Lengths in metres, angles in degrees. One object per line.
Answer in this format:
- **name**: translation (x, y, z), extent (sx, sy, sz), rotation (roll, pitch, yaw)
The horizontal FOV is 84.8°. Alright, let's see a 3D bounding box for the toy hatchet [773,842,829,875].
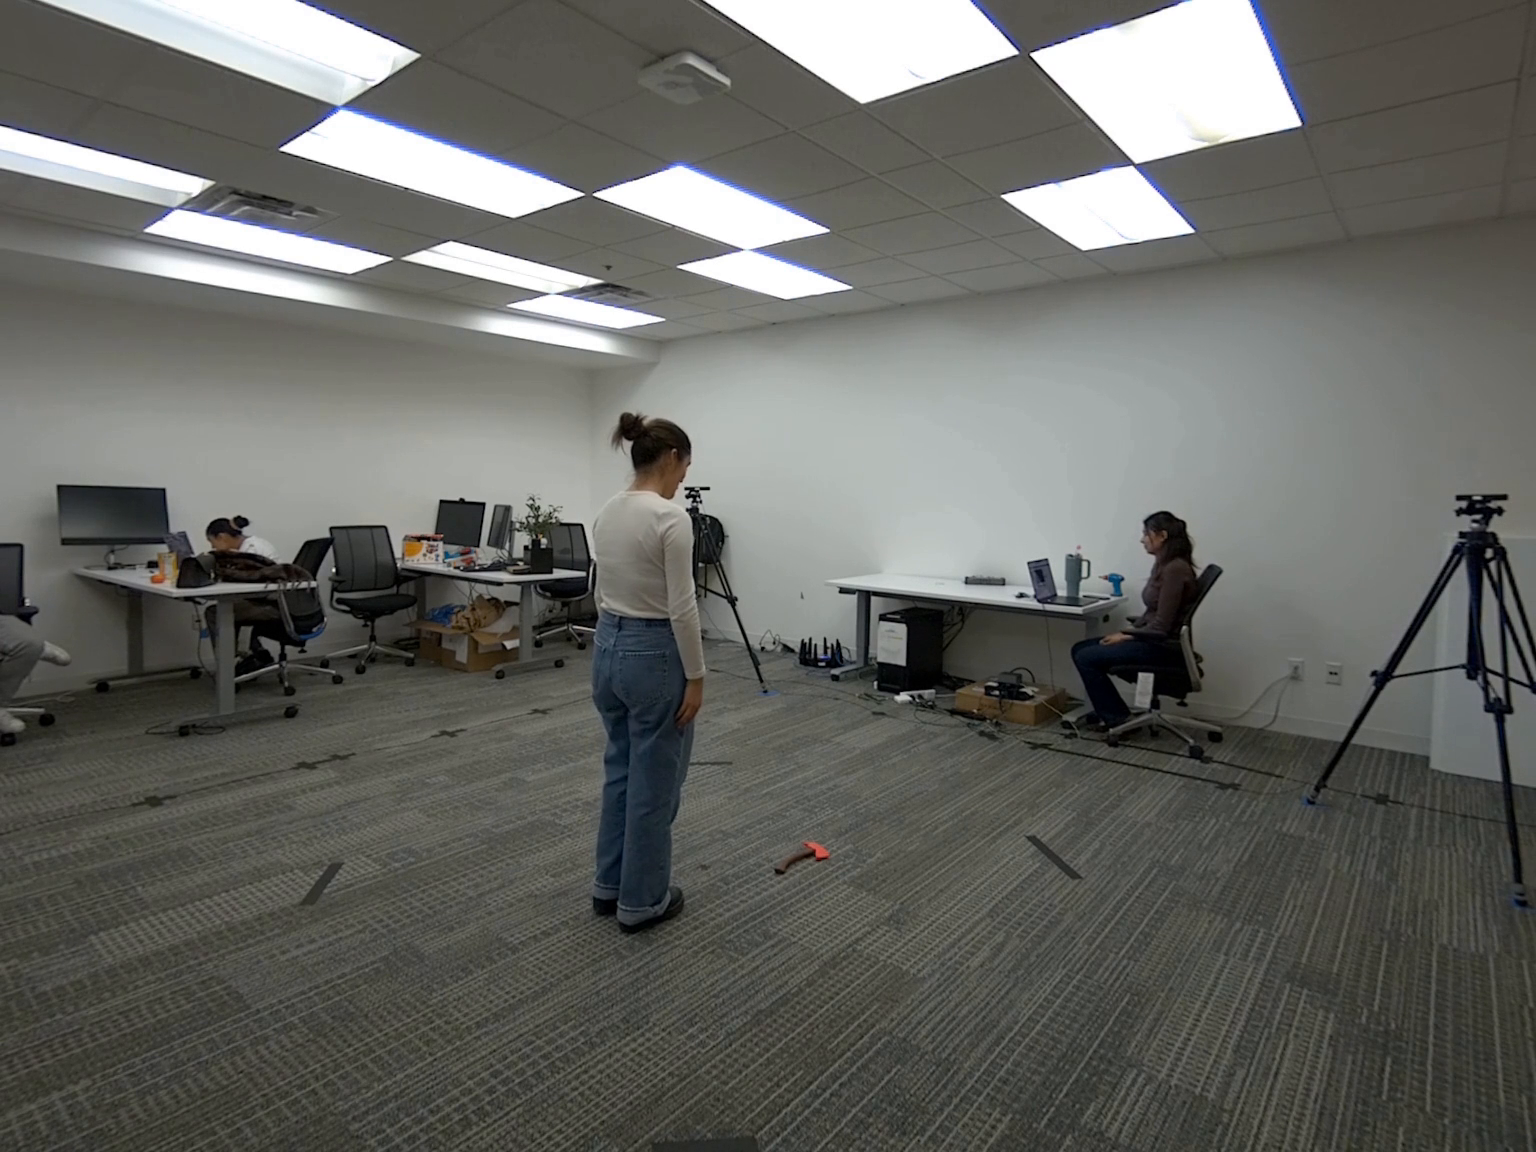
- **toy hatchet**: translation (0.131, 1.054, 3.165), extent (0.135, 0.029, 0.264), rotation (8, 10, 27)
